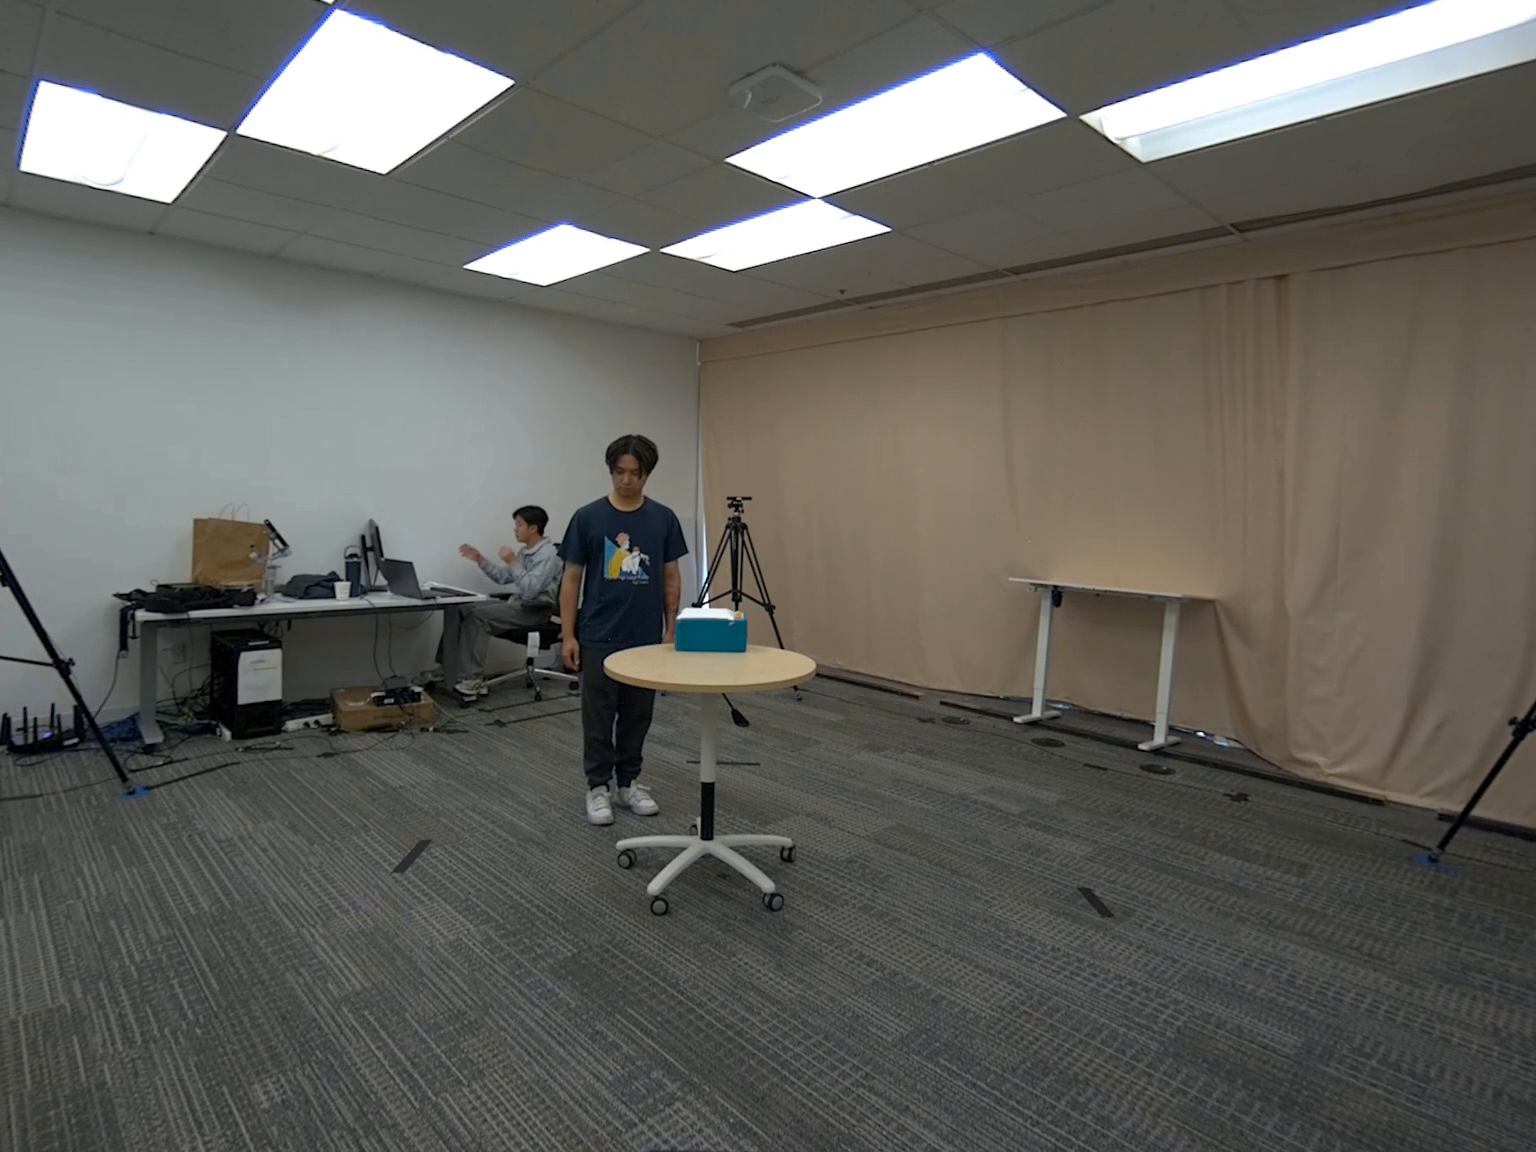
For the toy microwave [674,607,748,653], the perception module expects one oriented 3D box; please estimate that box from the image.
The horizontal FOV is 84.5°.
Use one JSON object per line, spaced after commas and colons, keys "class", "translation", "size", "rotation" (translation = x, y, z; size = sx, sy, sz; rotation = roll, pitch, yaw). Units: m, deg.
{"class": "toy microwave", "translation": [-0.231, 0.212, 3.307], "size": [0.286, 0.152, 0.185], "rotation": [0, 6, 1]}
